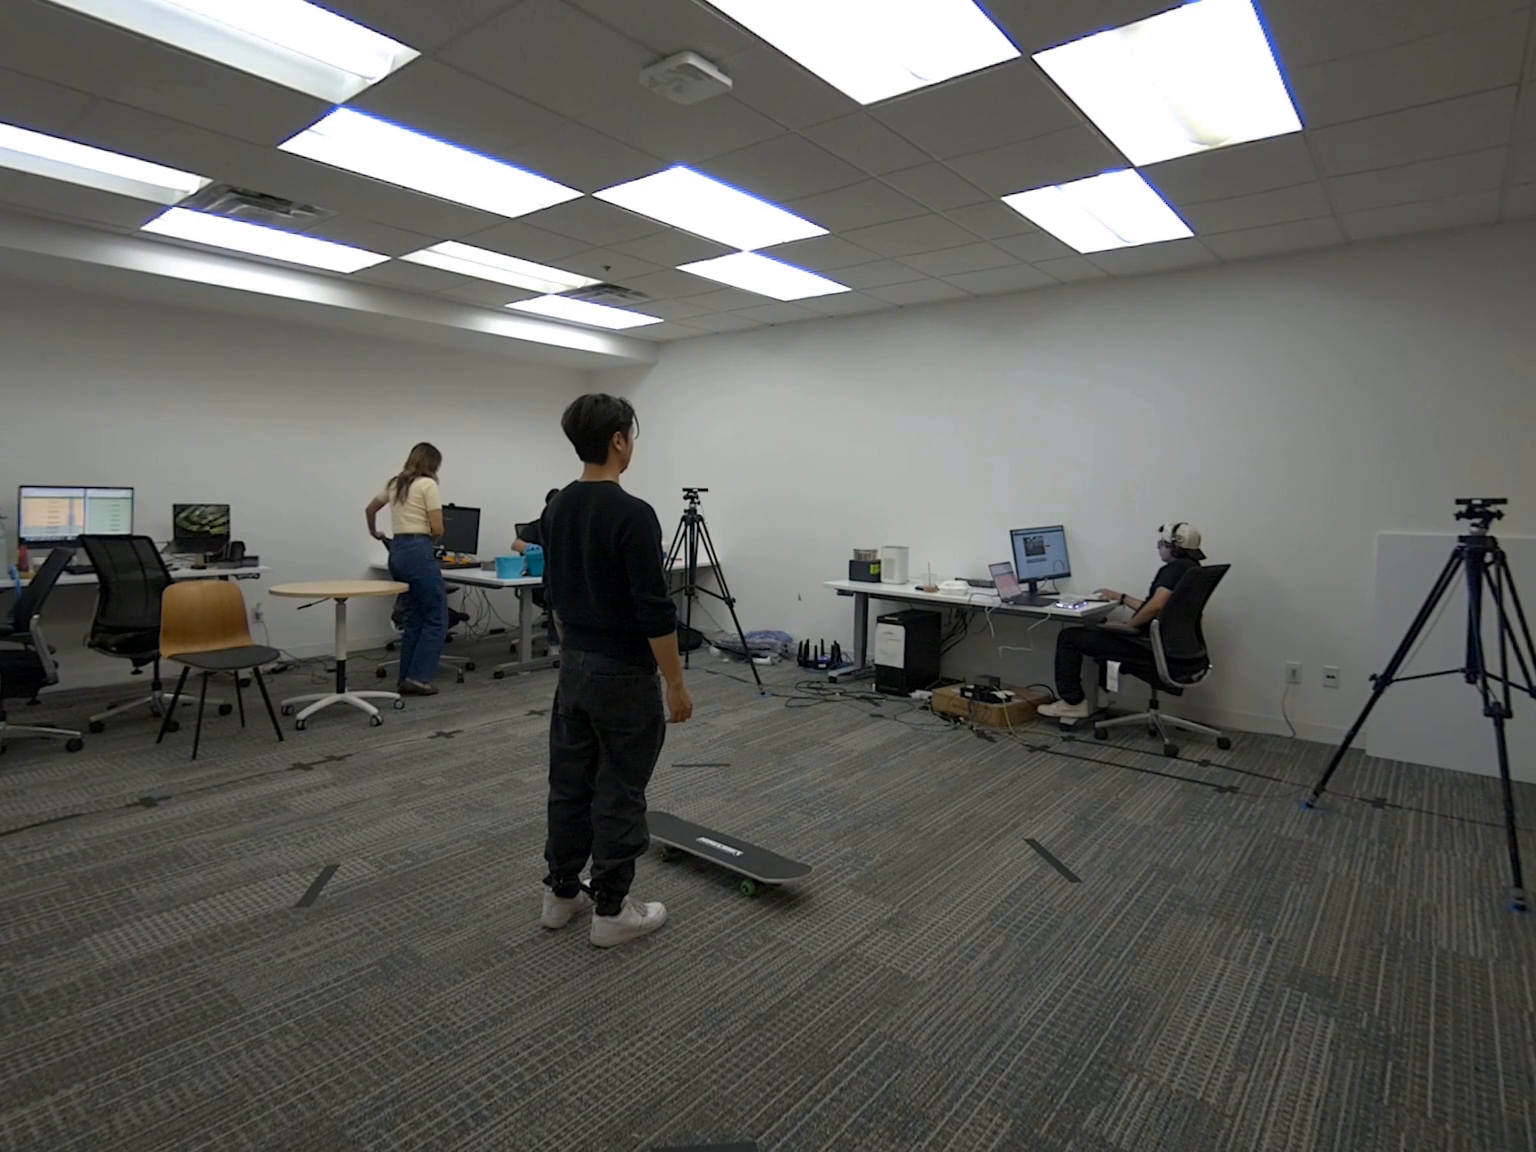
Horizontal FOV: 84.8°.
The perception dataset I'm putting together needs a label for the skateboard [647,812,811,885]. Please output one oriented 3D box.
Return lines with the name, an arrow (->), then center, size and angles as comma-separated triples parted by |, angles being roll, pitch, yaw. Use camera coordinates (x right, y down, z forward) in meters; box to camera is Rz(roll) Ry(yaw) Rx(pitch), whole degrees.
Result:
skateboard -> -0.190, 1.011, 3.099 | 0.812, 0.110, 0.188 | 6, 7, 39
